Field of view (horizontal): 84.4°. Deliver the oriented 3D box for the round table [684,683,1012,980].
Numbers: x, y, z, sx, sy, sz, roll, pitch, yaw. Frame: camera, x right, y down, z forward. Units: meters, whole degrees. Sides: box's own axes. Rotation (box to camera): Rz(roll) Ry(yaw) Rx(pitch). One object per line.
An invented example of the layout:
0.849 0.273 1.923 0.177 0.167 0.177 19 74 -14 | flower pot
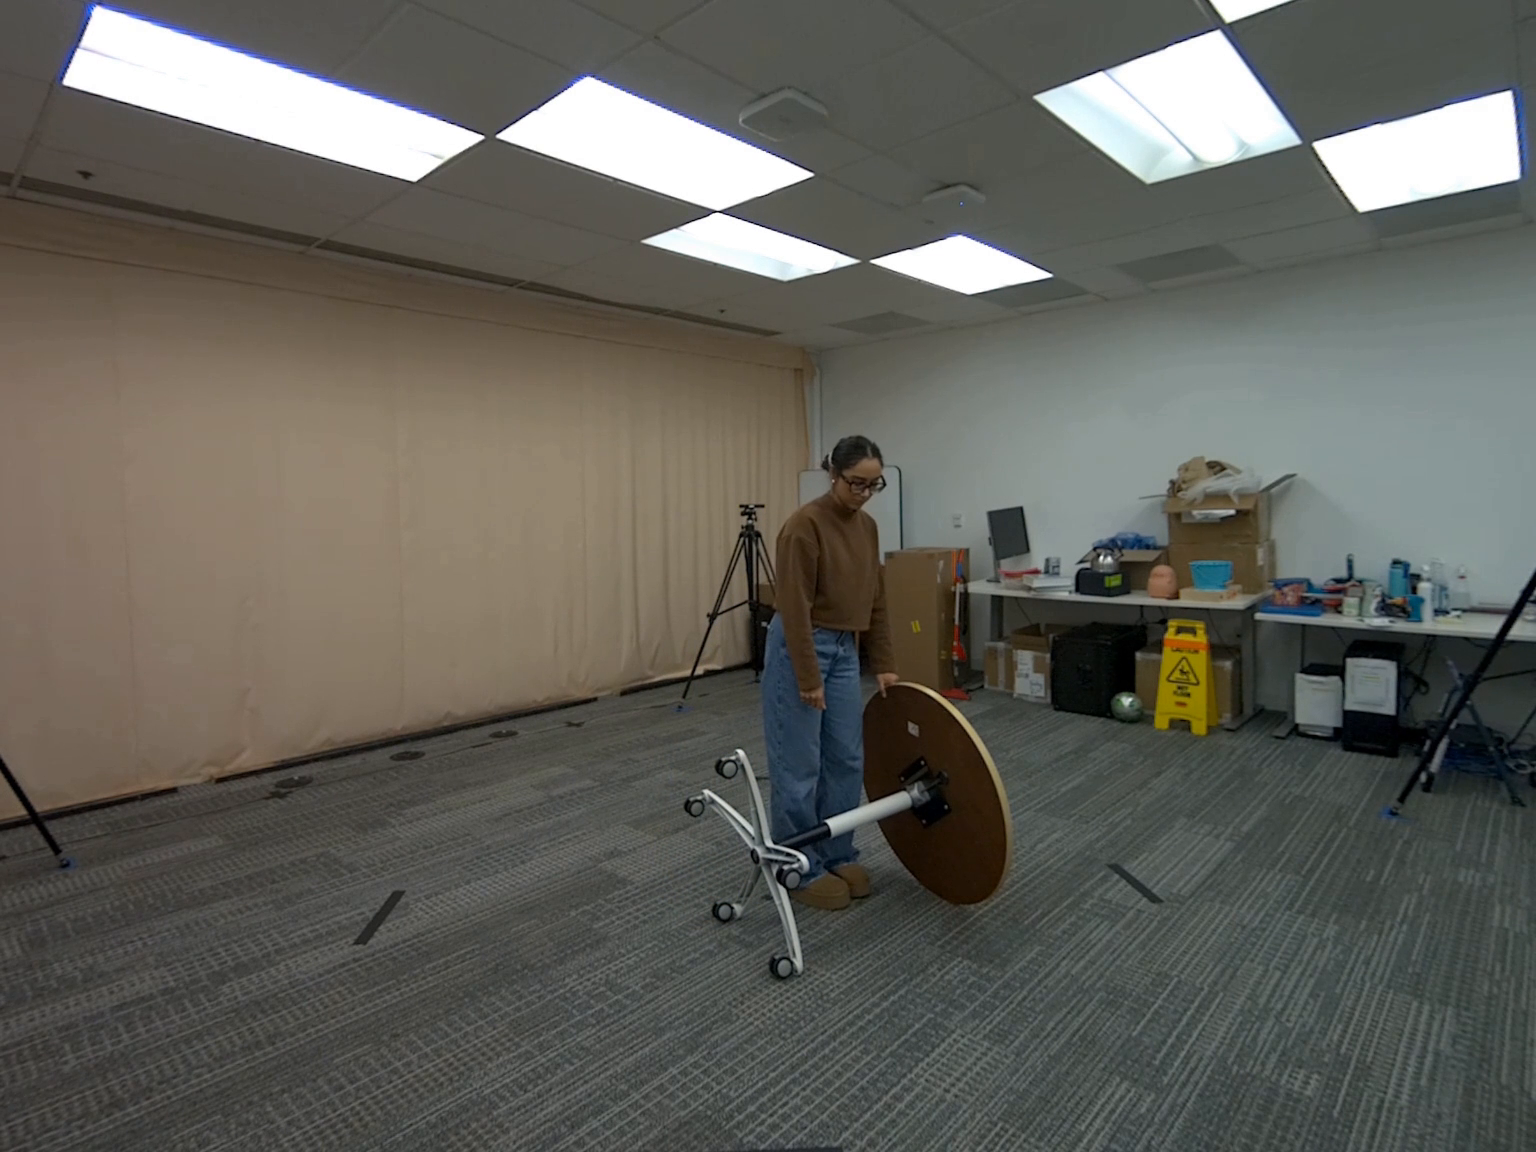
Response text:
0.233 0.821 2.771 0.776 0.760 0.785 -11 8 -27 | round table
